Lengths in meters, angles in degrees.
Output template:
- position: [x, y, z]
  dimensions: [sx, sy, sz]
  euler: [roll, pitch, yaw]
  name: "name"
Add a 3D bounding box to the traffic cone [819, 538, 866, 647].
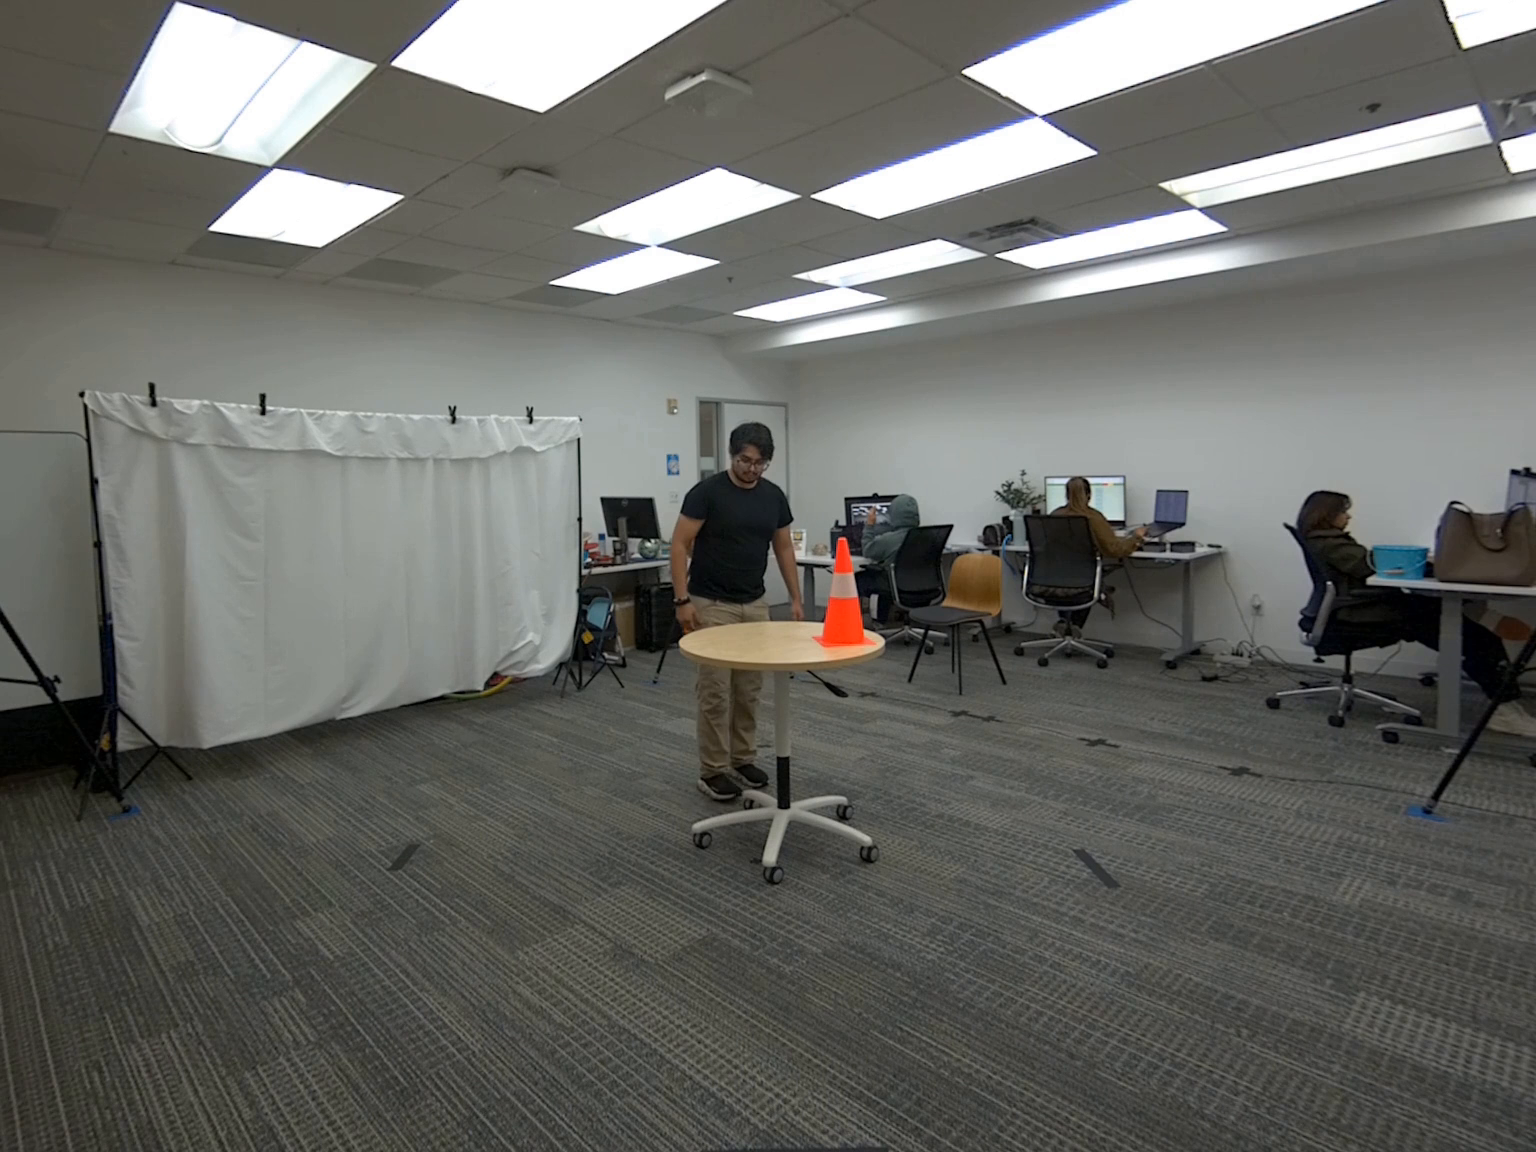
- position: [0.280, 0.056, 3.154]
  dimensions: [0.203, 0.382, 0.206]
  euler: [-3, 4, -11]
  name: "traffic cone"
